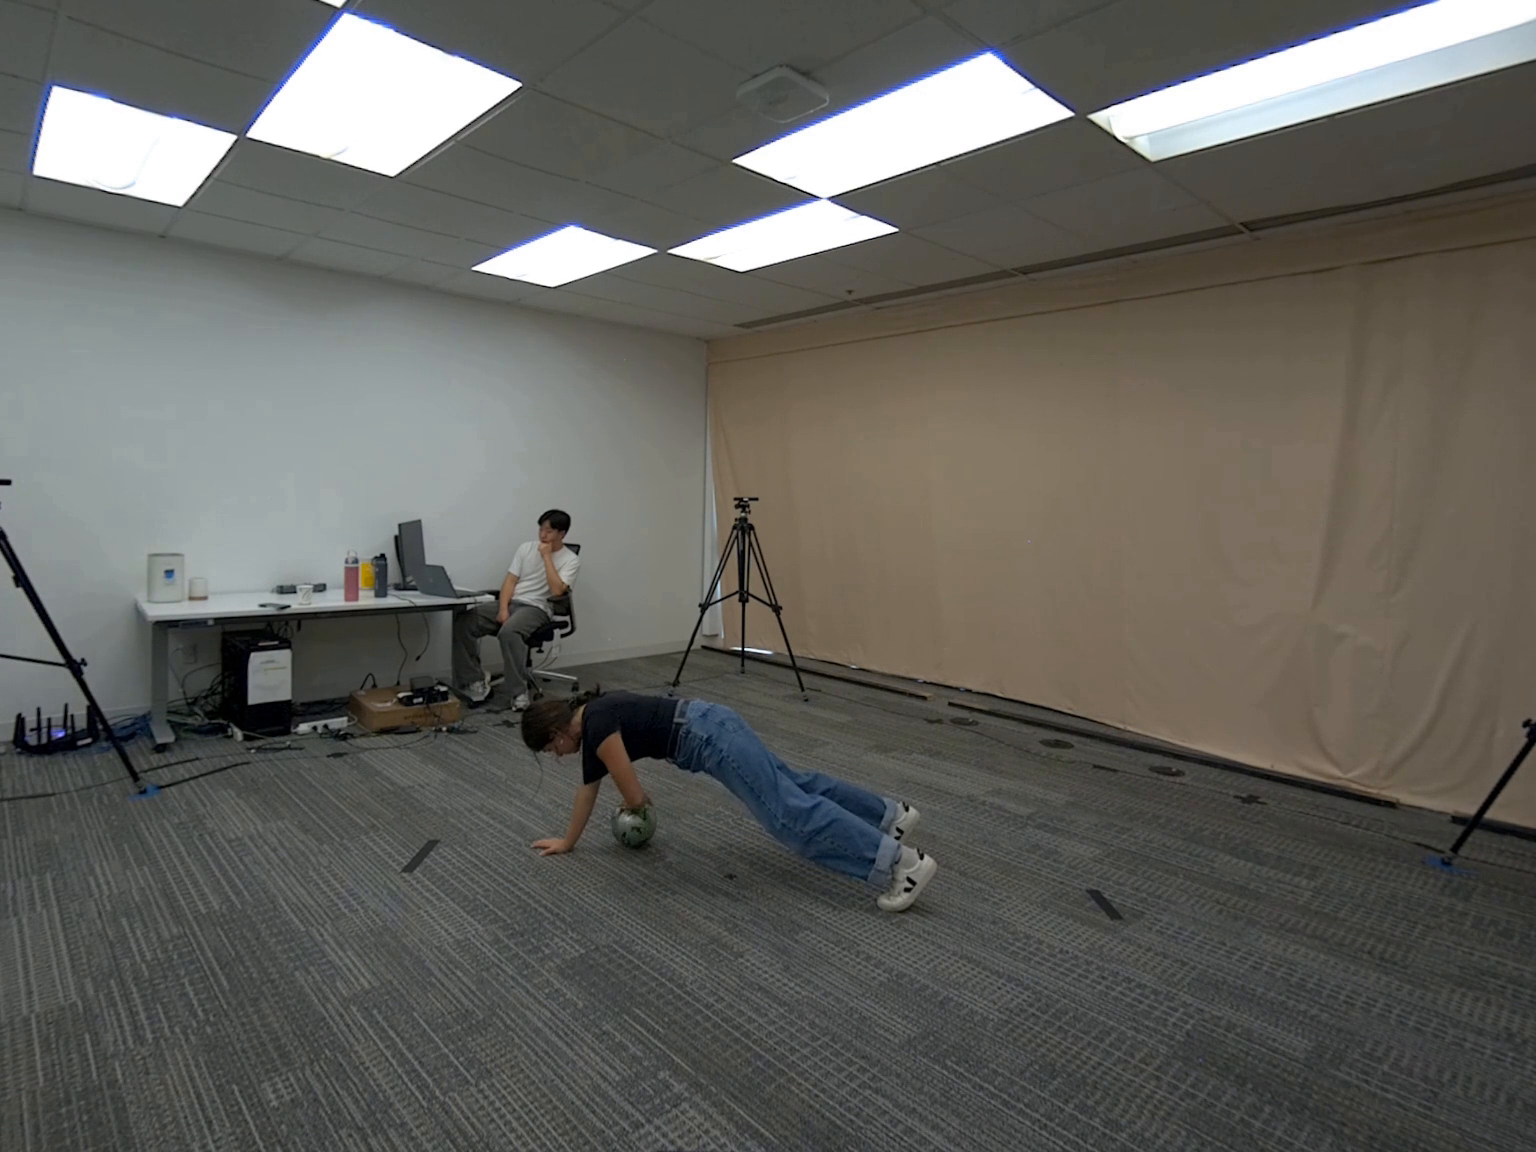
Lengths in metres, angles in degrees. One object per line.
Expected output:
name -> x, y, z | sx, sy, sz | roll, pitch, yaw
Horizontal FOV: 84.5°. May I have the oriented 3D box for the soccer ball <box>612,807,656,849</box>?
soccer ball -> -0.533, 0.979, 3.345 | 0.187, 0.187, 0.188 | 1, 4, -1
